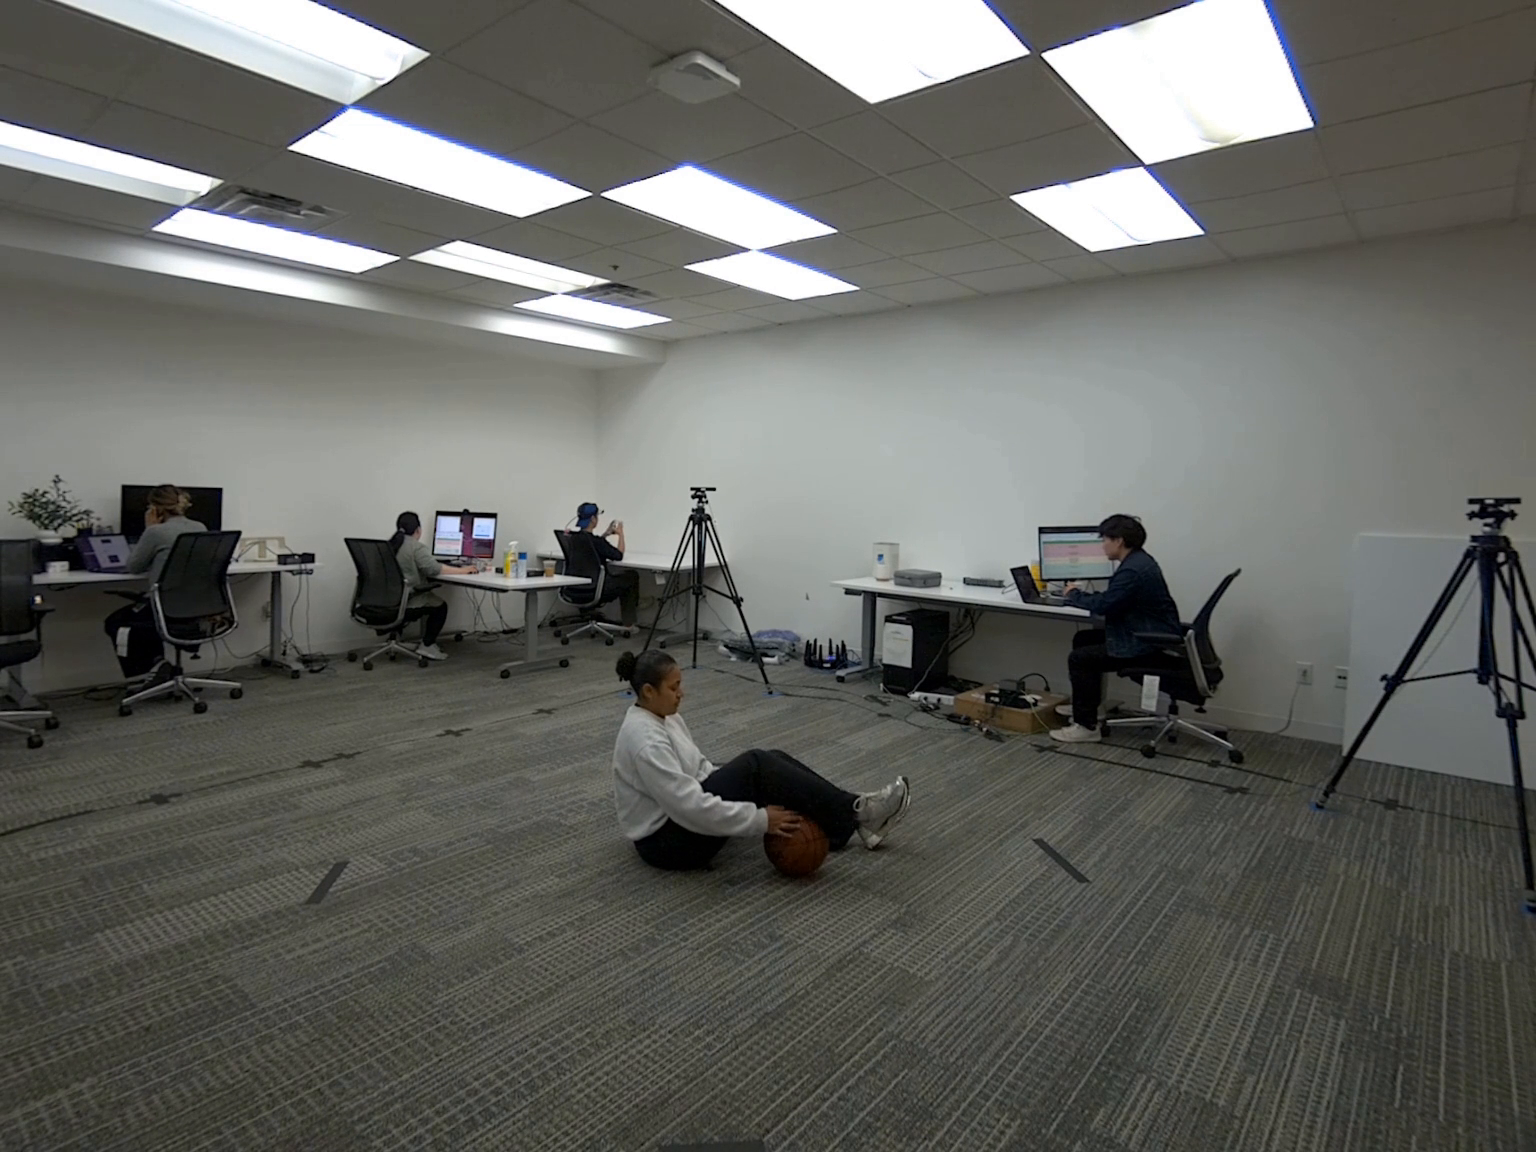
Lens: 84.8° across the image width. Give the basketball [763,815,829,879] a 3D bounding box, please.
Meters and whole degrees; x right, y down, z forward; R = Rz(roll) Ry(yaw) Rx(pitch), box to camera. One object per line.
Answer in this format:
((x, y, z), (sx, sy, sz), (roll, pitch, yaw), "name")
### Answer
((0.081, 0.967, 3.082), (0.235, 0.235, 0.237), (1, 4, -2), "basketball")
